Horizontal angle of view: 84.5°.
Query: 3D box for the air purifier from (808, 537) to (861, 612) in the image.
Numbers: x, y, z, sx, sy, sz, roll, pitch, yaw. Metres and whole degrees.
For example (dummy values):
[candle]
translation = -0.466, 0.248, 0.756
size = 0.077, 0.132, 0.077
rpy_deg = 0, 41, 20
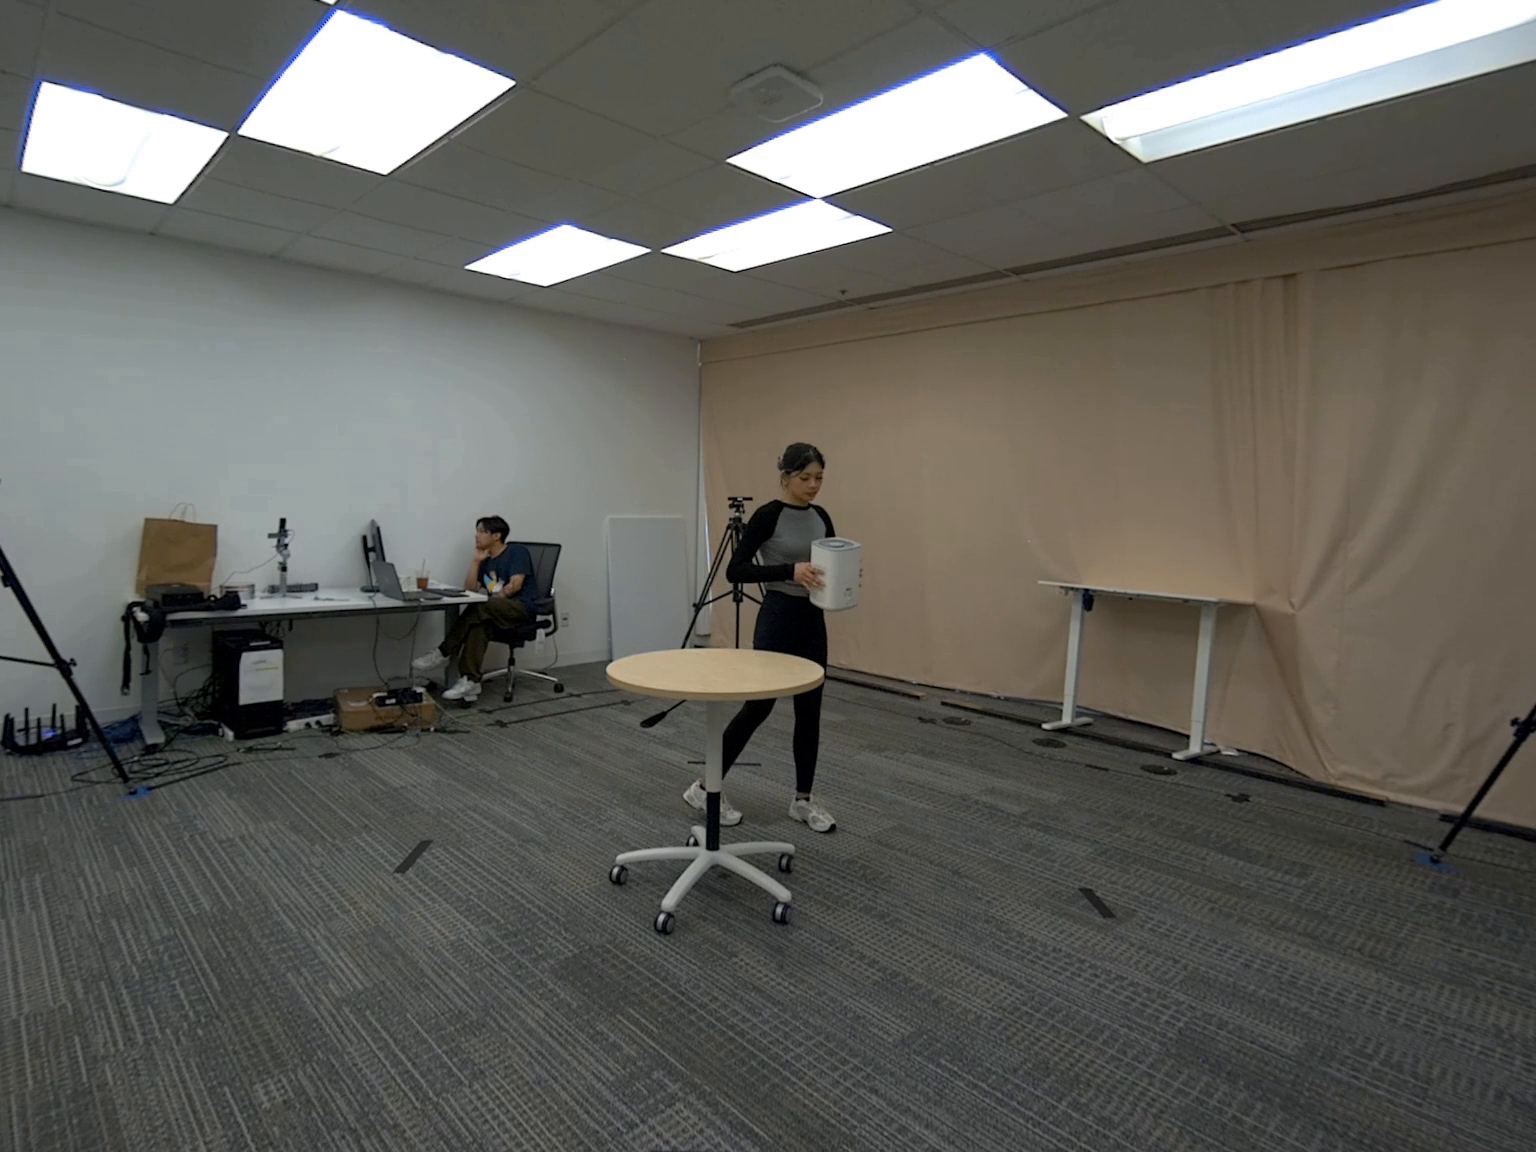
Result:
[air purifier]
translation = 0.250, -0.007, 3.412
size = 0.168, 0.262, 0.176
rpy_deg = -10, 19, -33
